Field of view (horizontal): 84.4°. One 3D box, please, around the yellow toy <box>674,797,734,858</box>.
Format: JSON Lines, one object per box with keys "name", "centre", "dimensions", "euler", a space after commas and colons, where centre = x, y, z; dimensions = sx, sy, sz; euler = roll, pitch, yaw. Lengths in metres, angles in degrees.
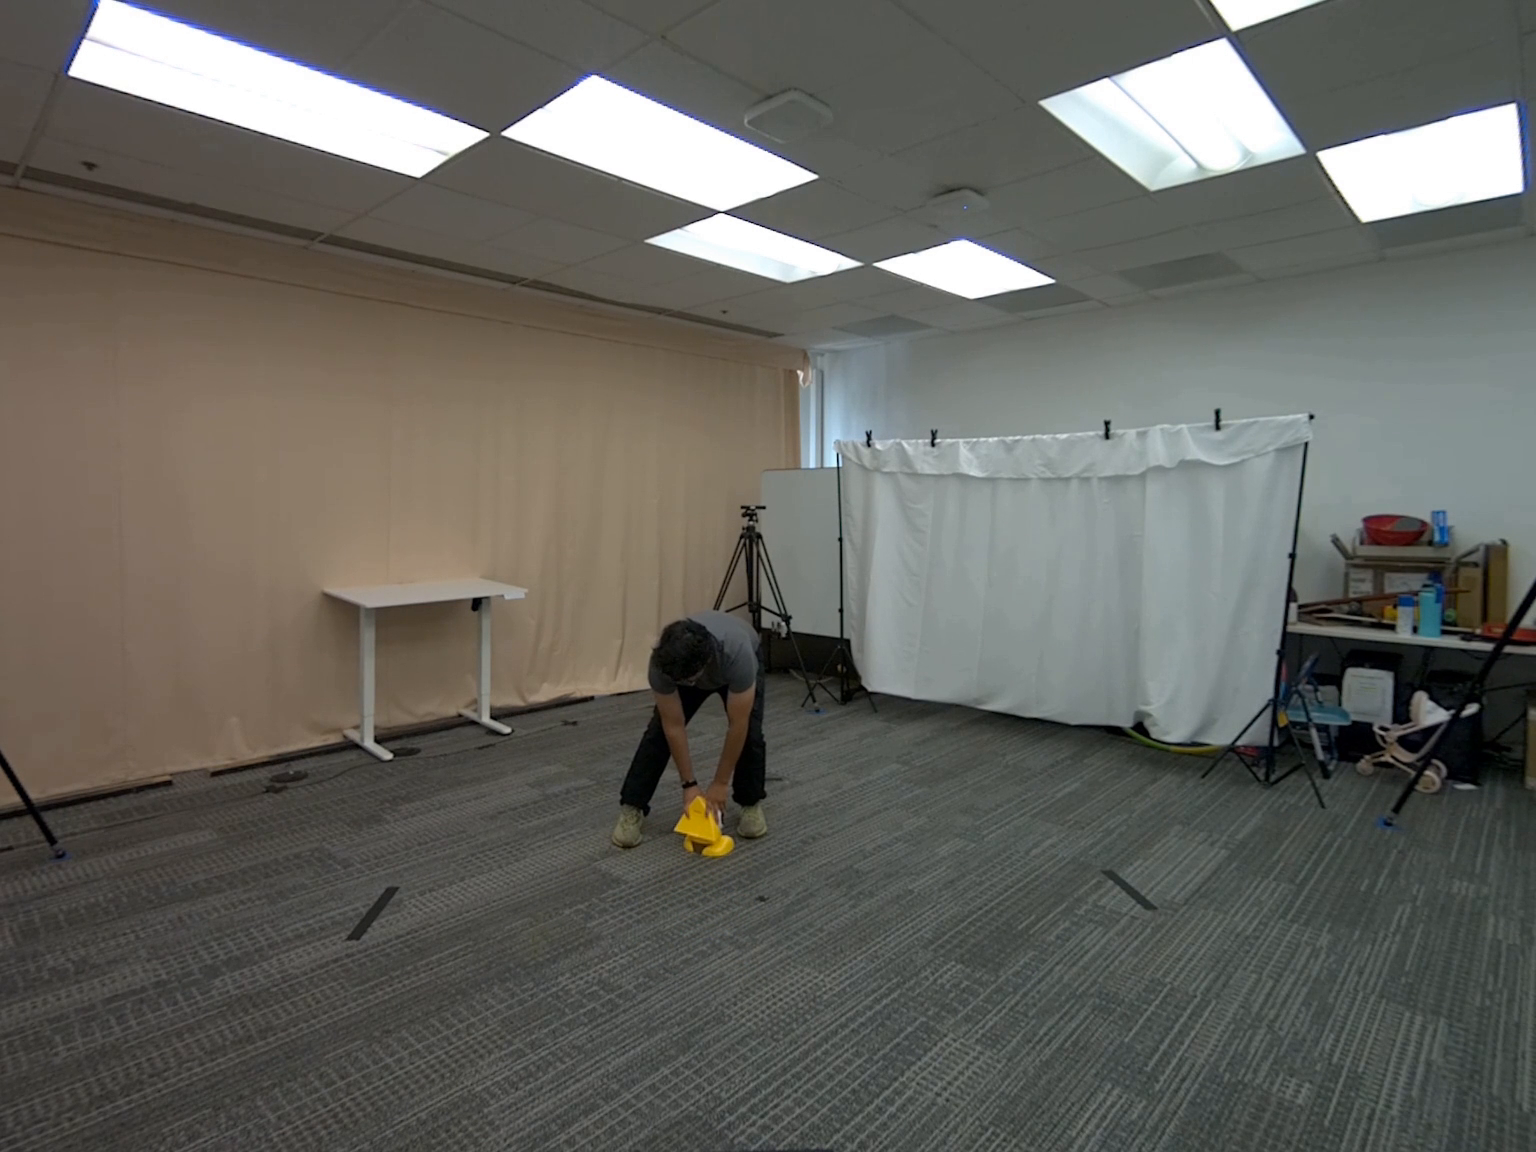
{"name": "yellow toy", "centre": [-0.248, 0.997, 3.431], "dimensions": [0.211, 0.230, 0.187], "euler": [2, 4, 36]}
